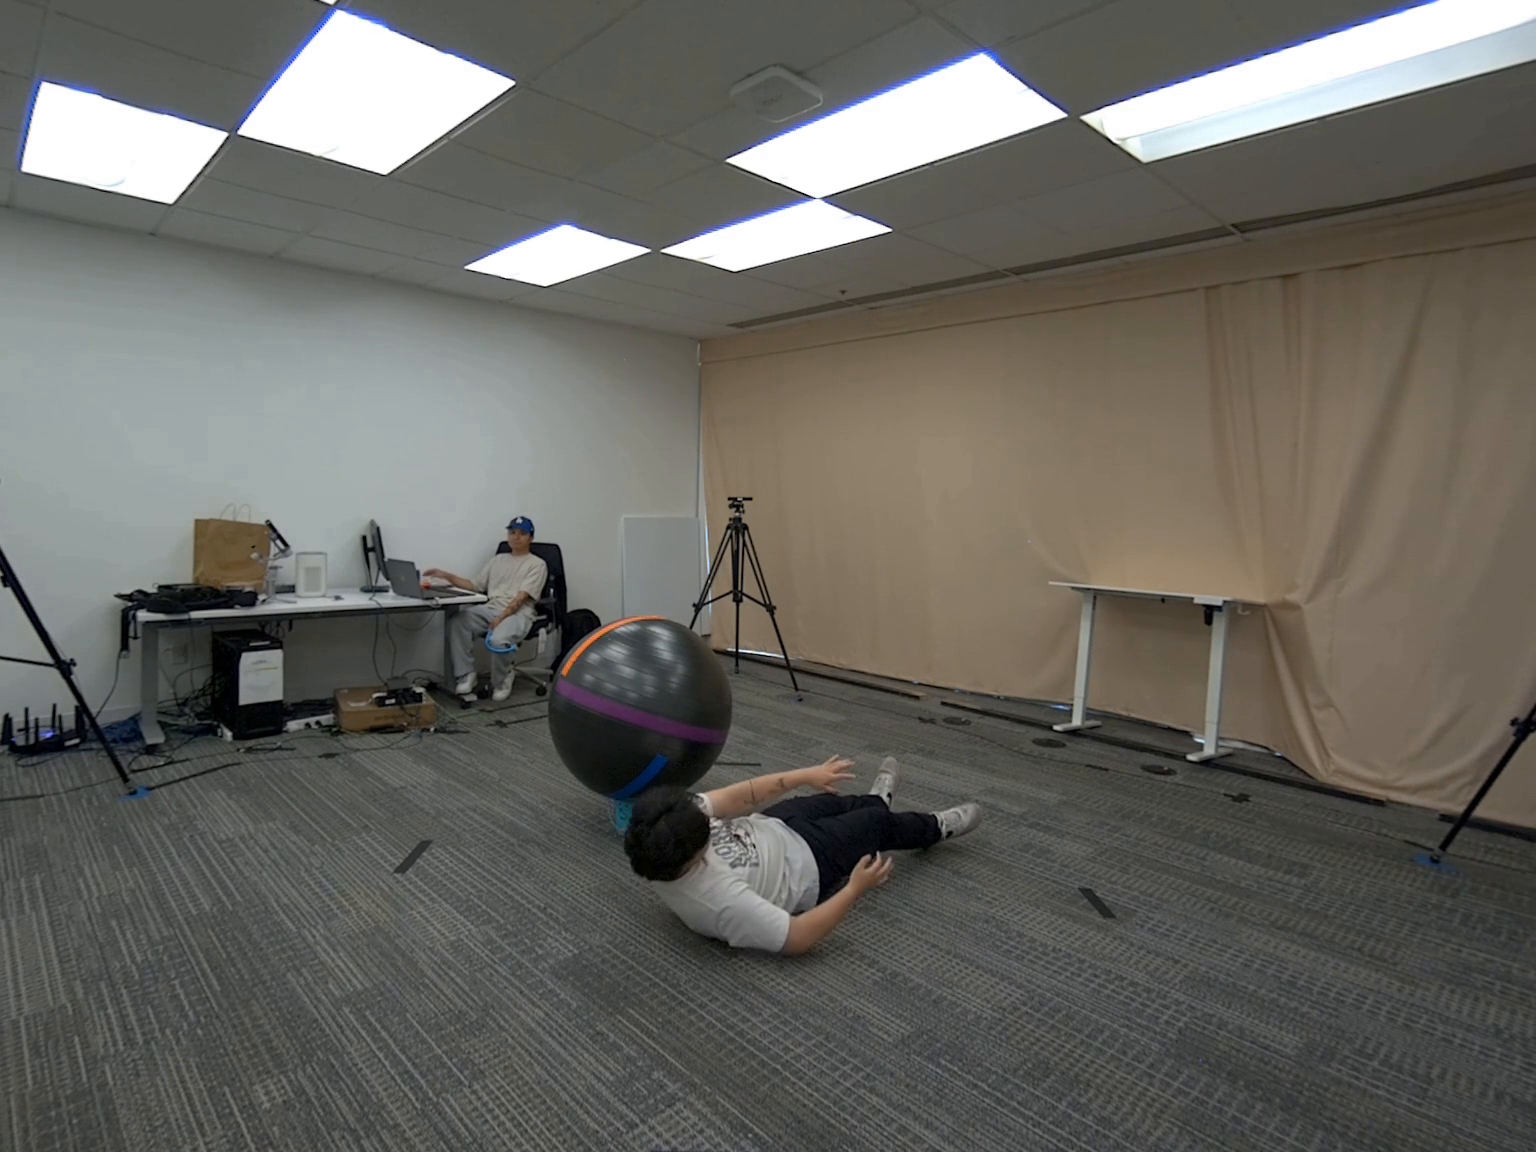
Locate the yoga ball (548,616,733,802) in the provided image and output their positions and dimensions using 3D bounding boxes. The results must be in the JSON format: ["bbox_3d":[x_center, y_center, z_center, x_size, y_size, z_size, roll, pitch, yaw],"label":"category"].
[{"bbox_3d":[-0.538,0.550,3.525,0.757,0.756,0.761,1,4,-1],"label":"yoga ball"}]
